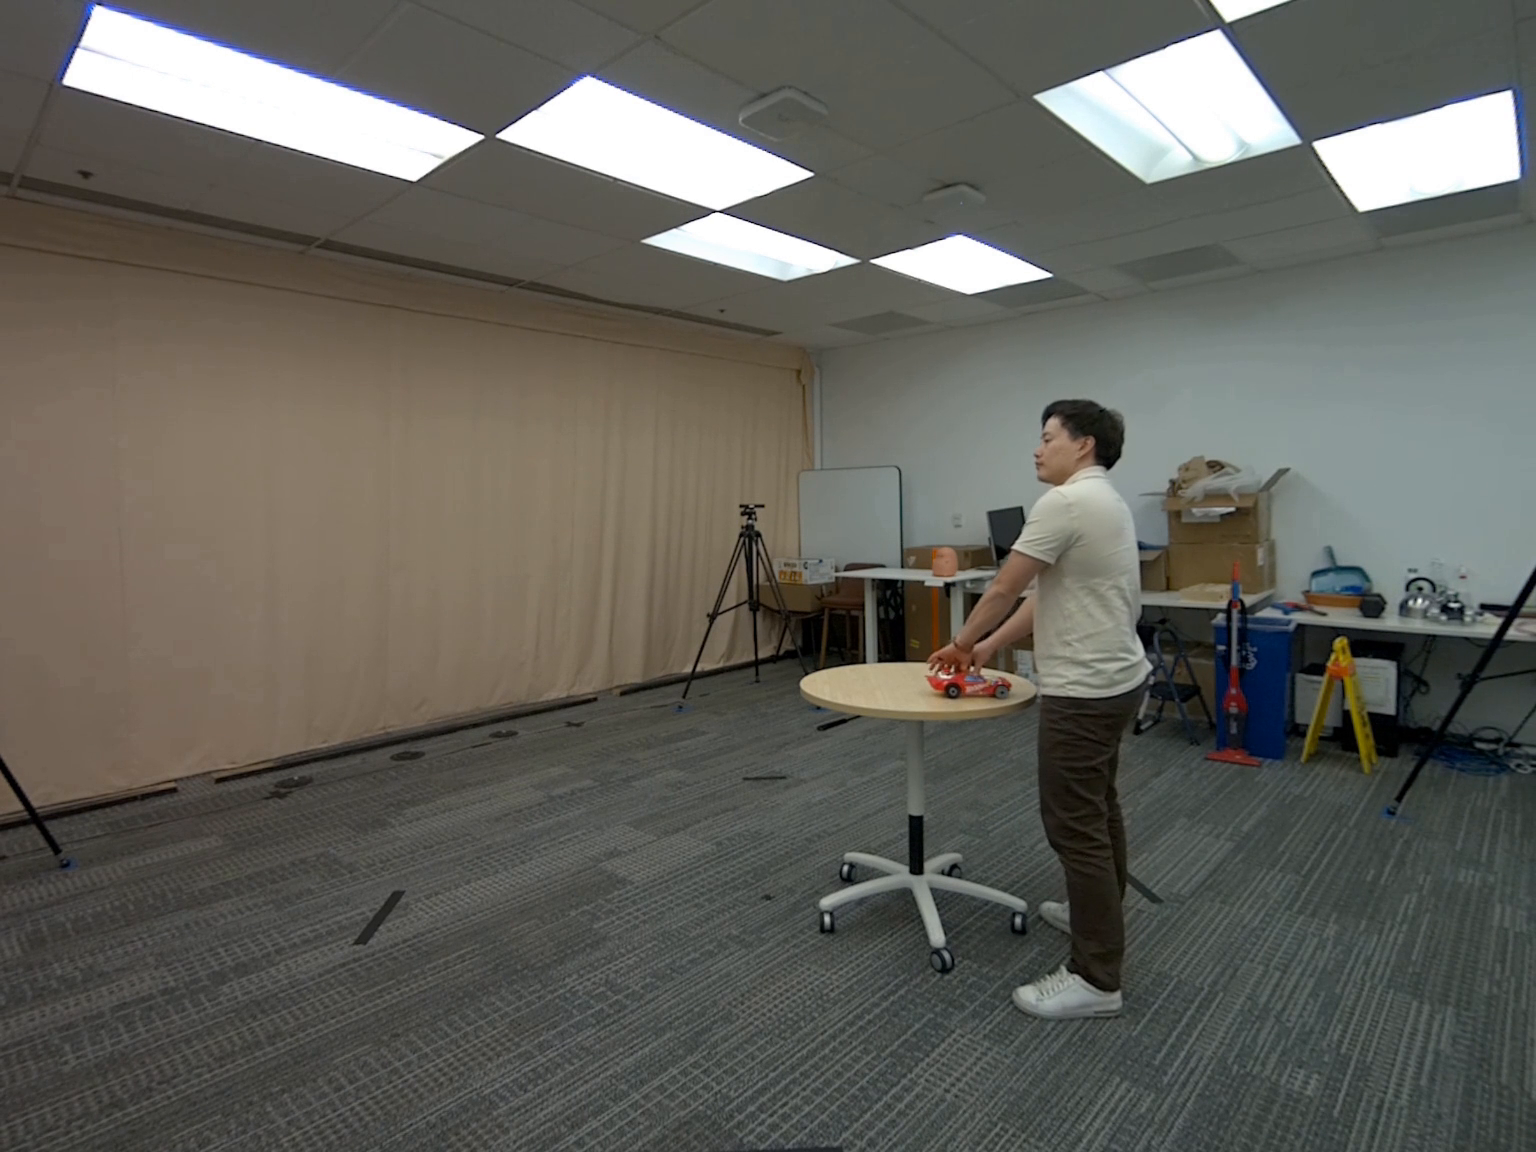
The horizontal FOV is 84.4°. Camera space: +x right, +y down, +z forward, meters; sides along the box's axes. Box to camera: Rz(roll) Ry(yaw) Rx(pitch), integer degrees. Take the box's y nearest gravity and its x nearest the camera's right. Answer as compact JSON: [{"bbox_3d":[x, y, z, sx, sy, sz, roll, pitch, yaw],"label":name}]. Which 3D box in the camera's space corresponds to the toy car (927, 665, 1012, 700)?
[{"bbox_3d":[0.632,0.343,2.624,0.256,0.083,0.130,9,4,4],"label":"toy car"}]
